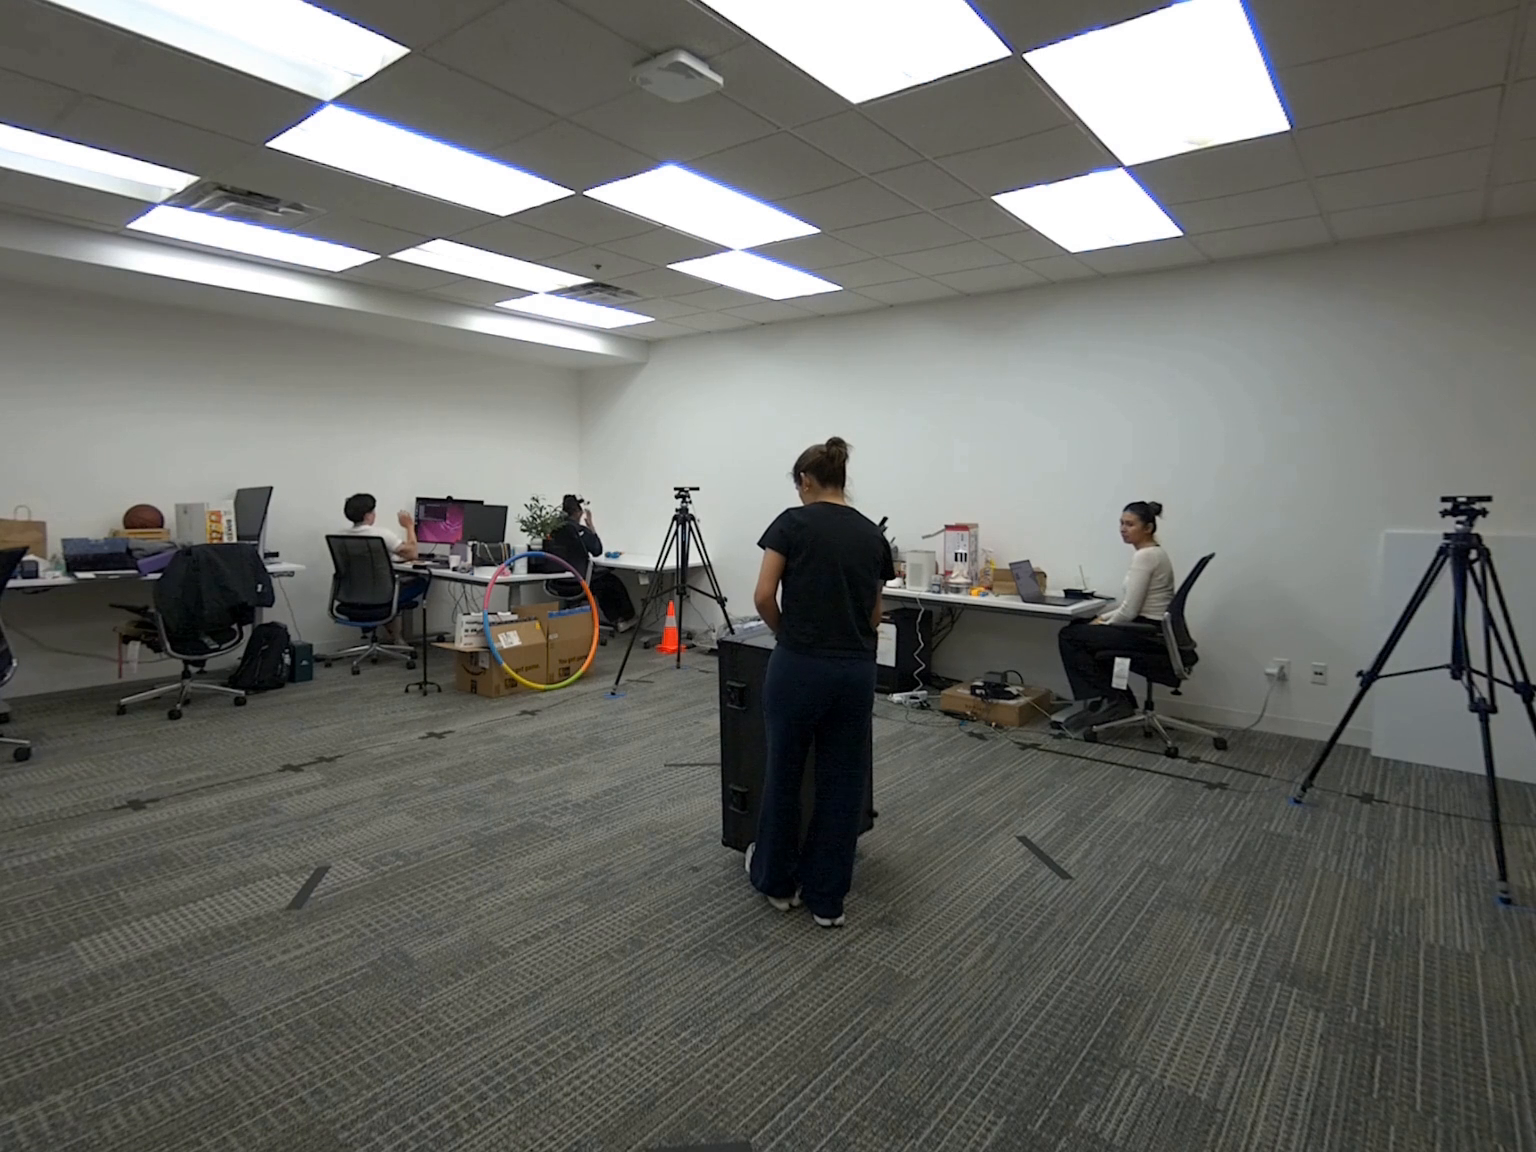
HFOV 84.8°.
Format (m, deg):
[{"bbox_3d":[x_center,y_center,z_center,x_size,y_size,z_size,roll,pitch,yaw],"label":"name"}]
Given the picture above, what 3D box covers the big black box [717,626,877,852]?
[{"bbox_3d":[0.143,0.627,3.196,0.410,0.856,0.507,5,9,43],"label":"big black box"}]
